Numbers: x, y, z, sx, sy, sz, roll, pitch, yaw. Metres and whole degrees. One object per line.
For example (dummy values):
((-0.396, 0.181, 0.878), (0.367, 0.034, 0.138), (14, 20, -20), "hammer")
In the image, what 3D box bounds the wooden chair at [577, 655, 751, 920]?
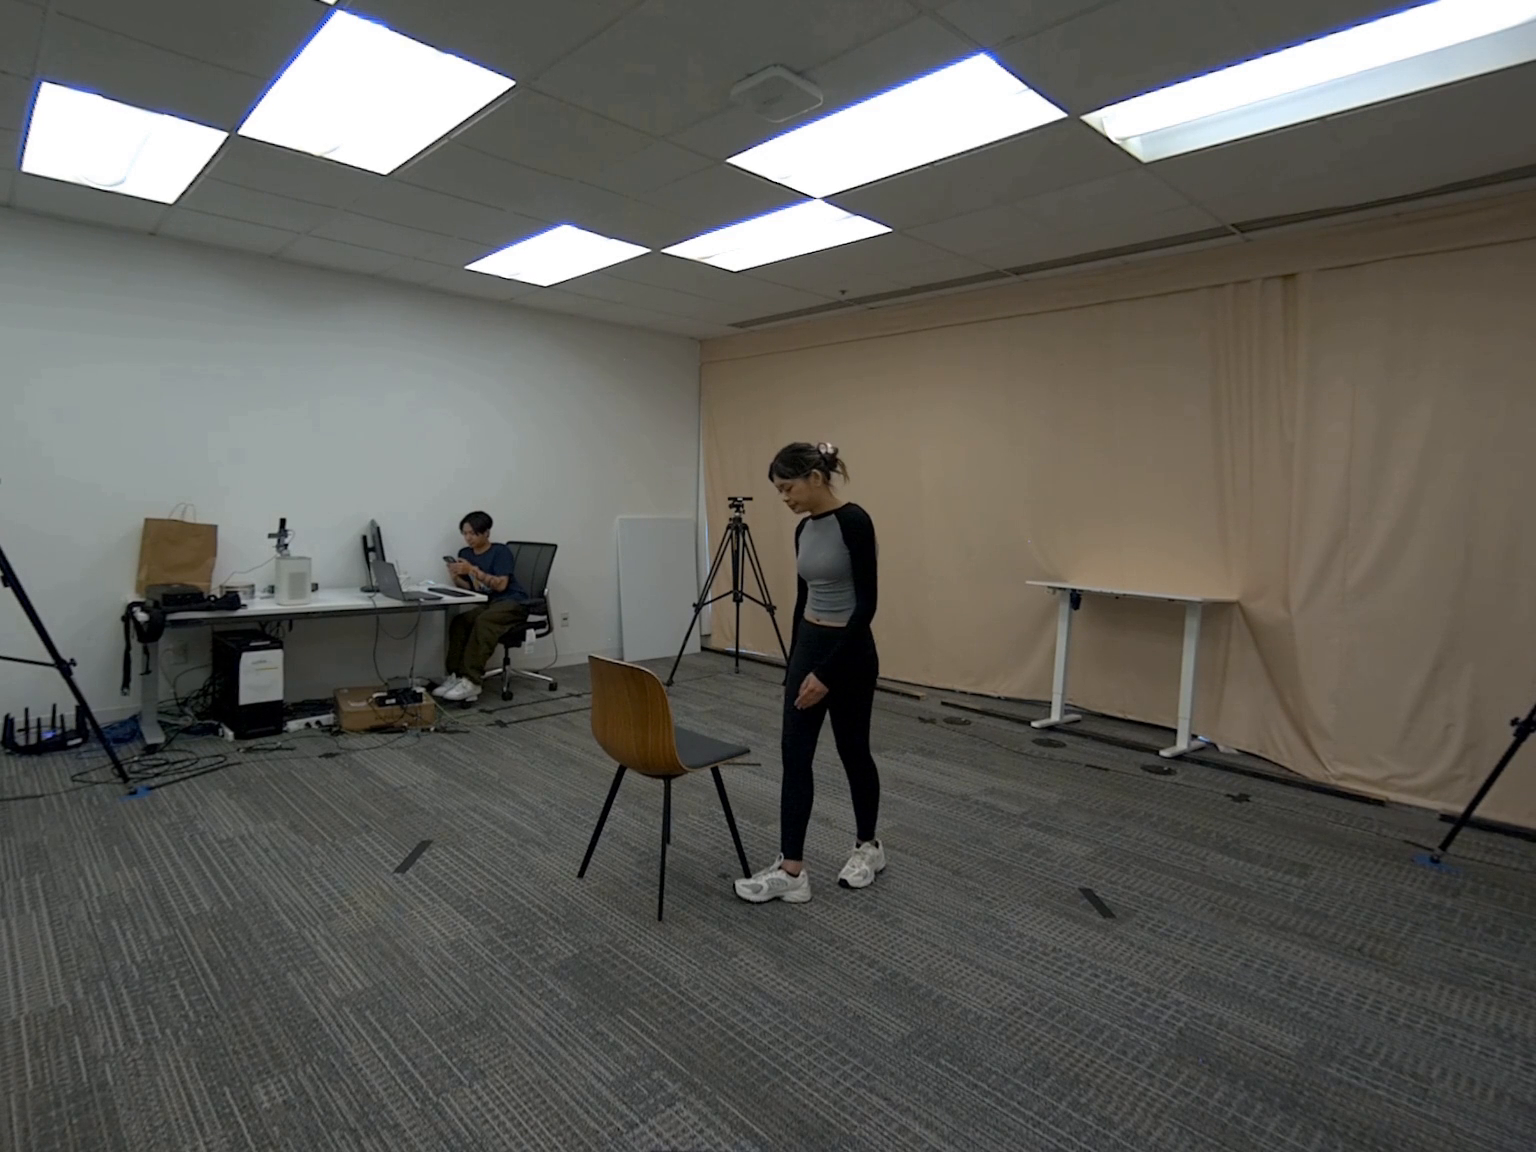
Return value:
((-0.365, 0.679, 3.049), (0.490, 0.873, 0.512), (4, 9, 42), "wooden chair")
